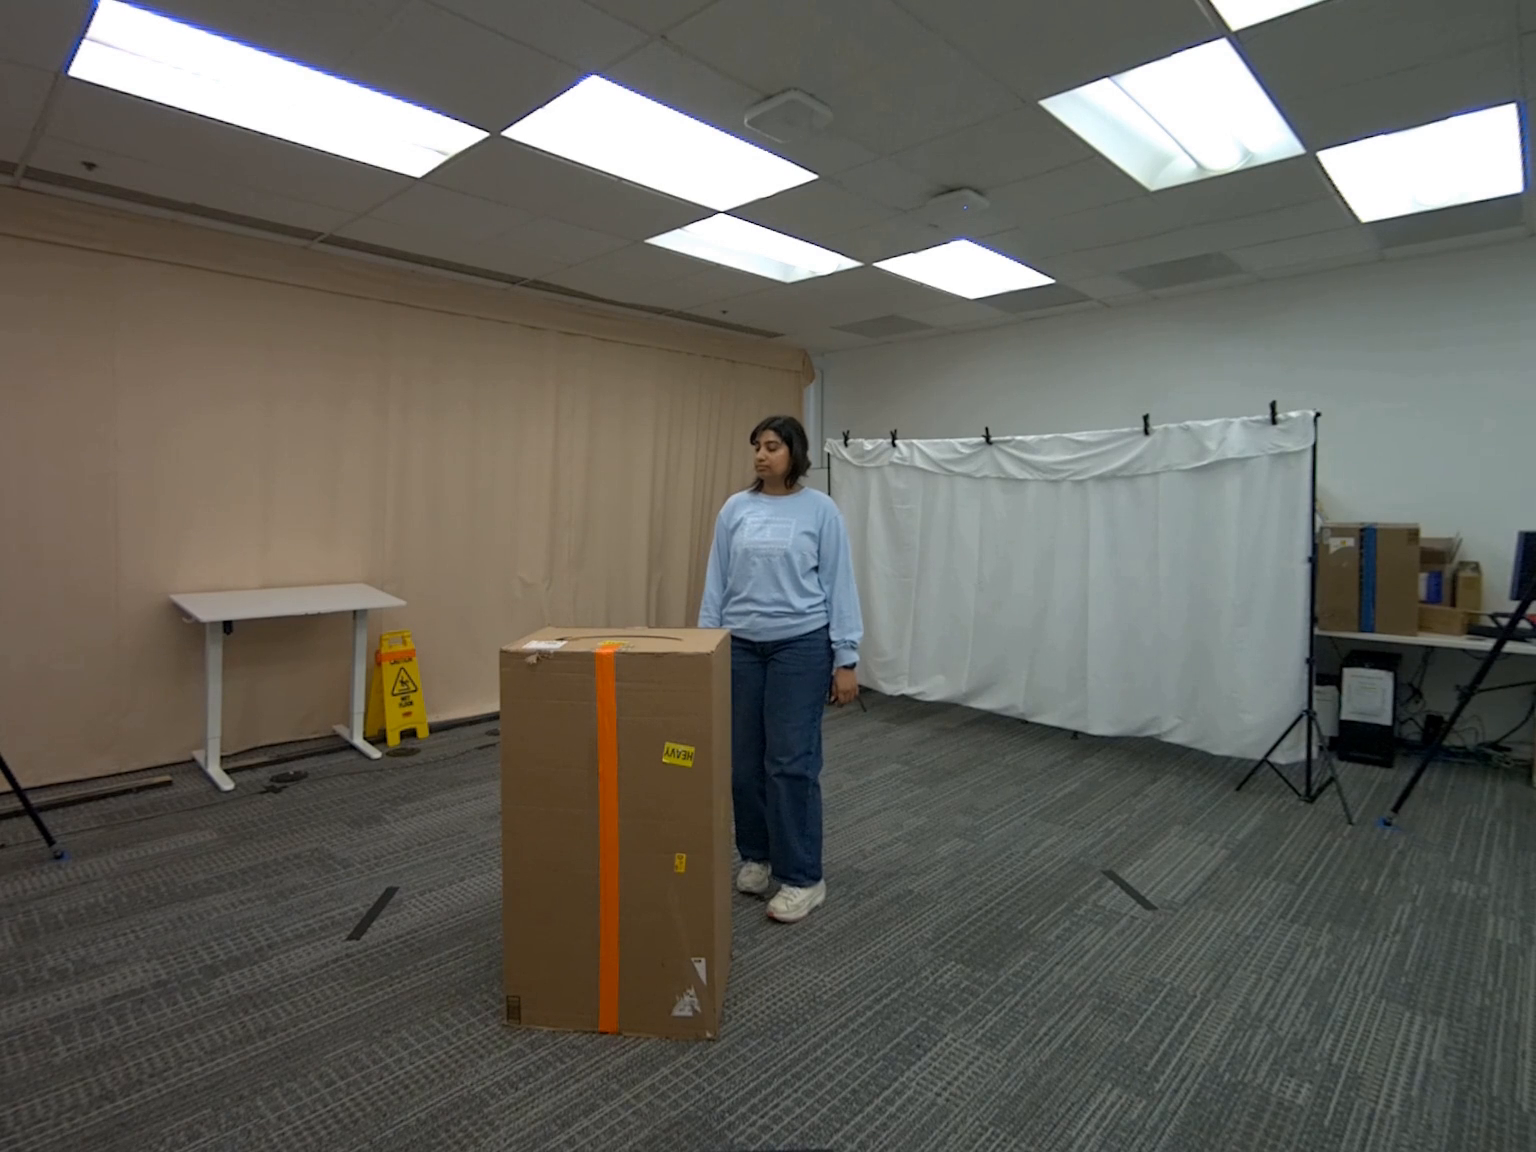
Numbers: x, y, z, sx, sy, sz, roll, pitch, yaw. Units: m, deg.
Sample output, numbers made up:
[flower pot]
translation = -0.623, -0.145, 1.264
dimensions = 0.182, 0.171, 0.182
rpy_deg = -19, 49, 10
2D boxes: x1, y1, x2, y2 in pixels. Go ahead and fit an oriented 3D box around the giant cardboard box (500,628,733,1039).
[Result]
[giant cardboard box]
translation = -0.412, 0.687, 2.402
dimensions = 0.582, 1.024, 0.424
rpy_deg = 0, 3, 6
